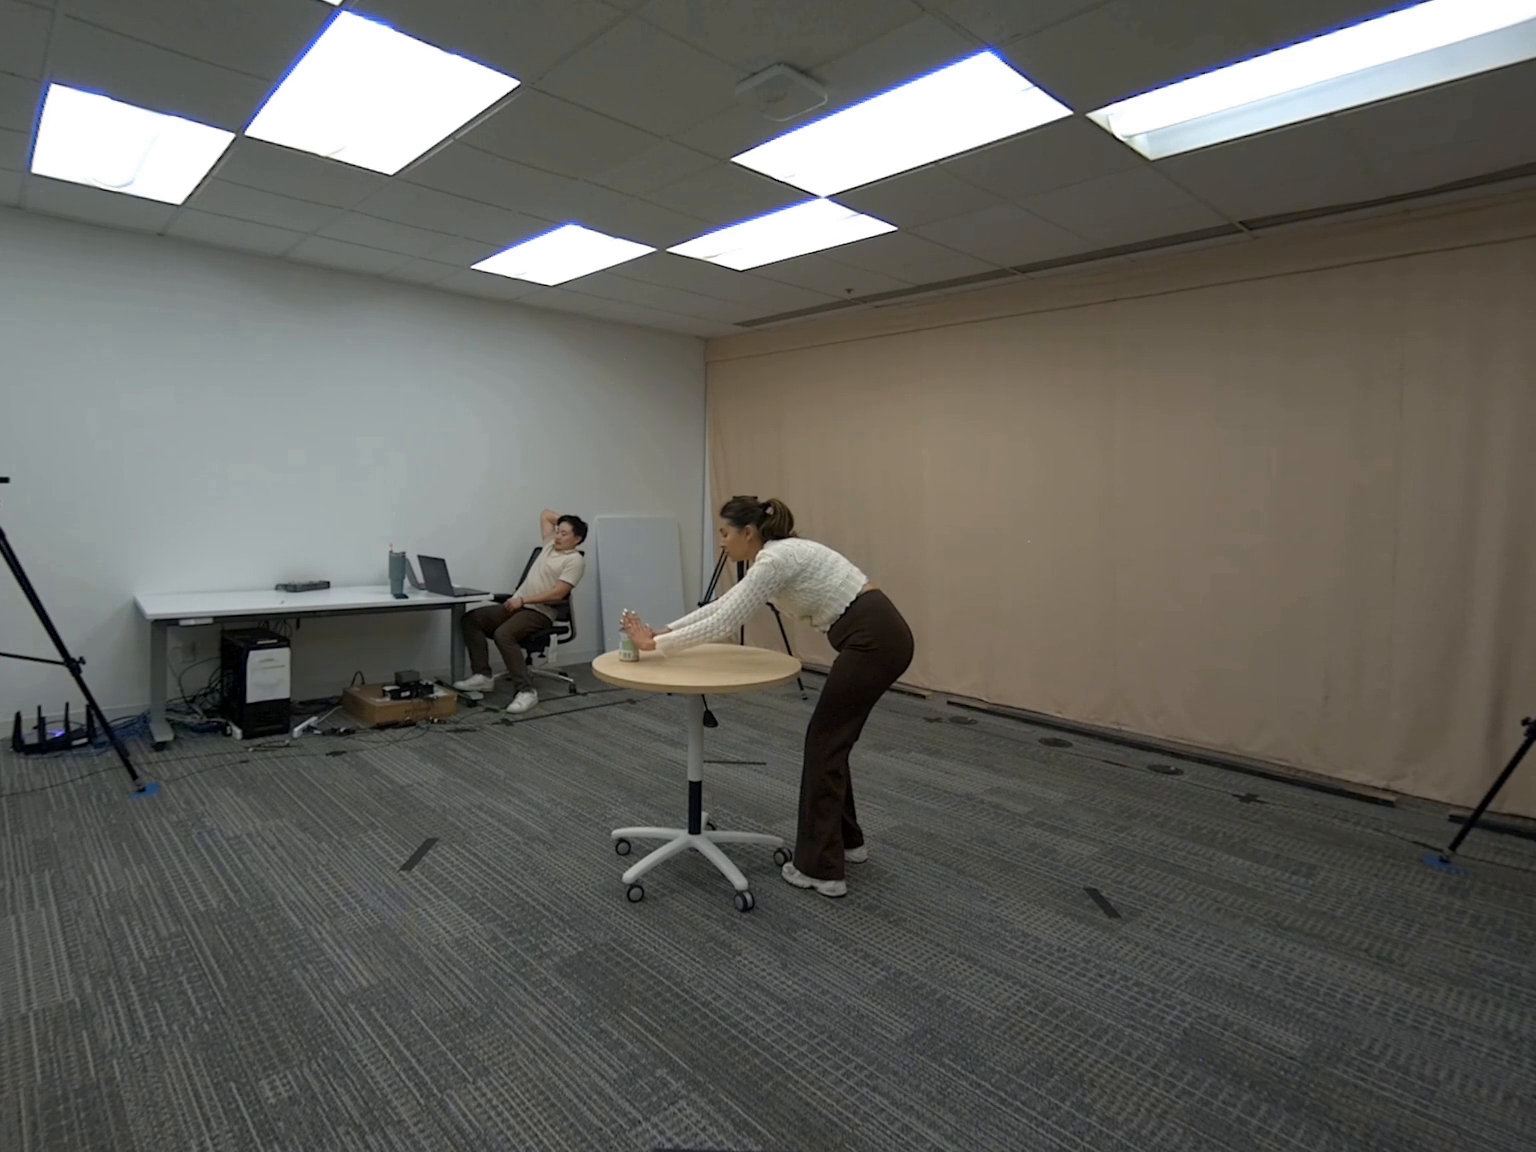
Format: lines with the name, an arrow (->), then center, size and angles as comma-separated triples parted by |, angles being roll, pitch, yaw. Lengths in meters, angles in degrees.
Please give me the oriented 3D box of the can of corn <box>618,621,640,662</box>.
can of corn -> -0.514, 0.255, 3.110 | 0.074, 0.111, 0.074 | -1, 1, -1
